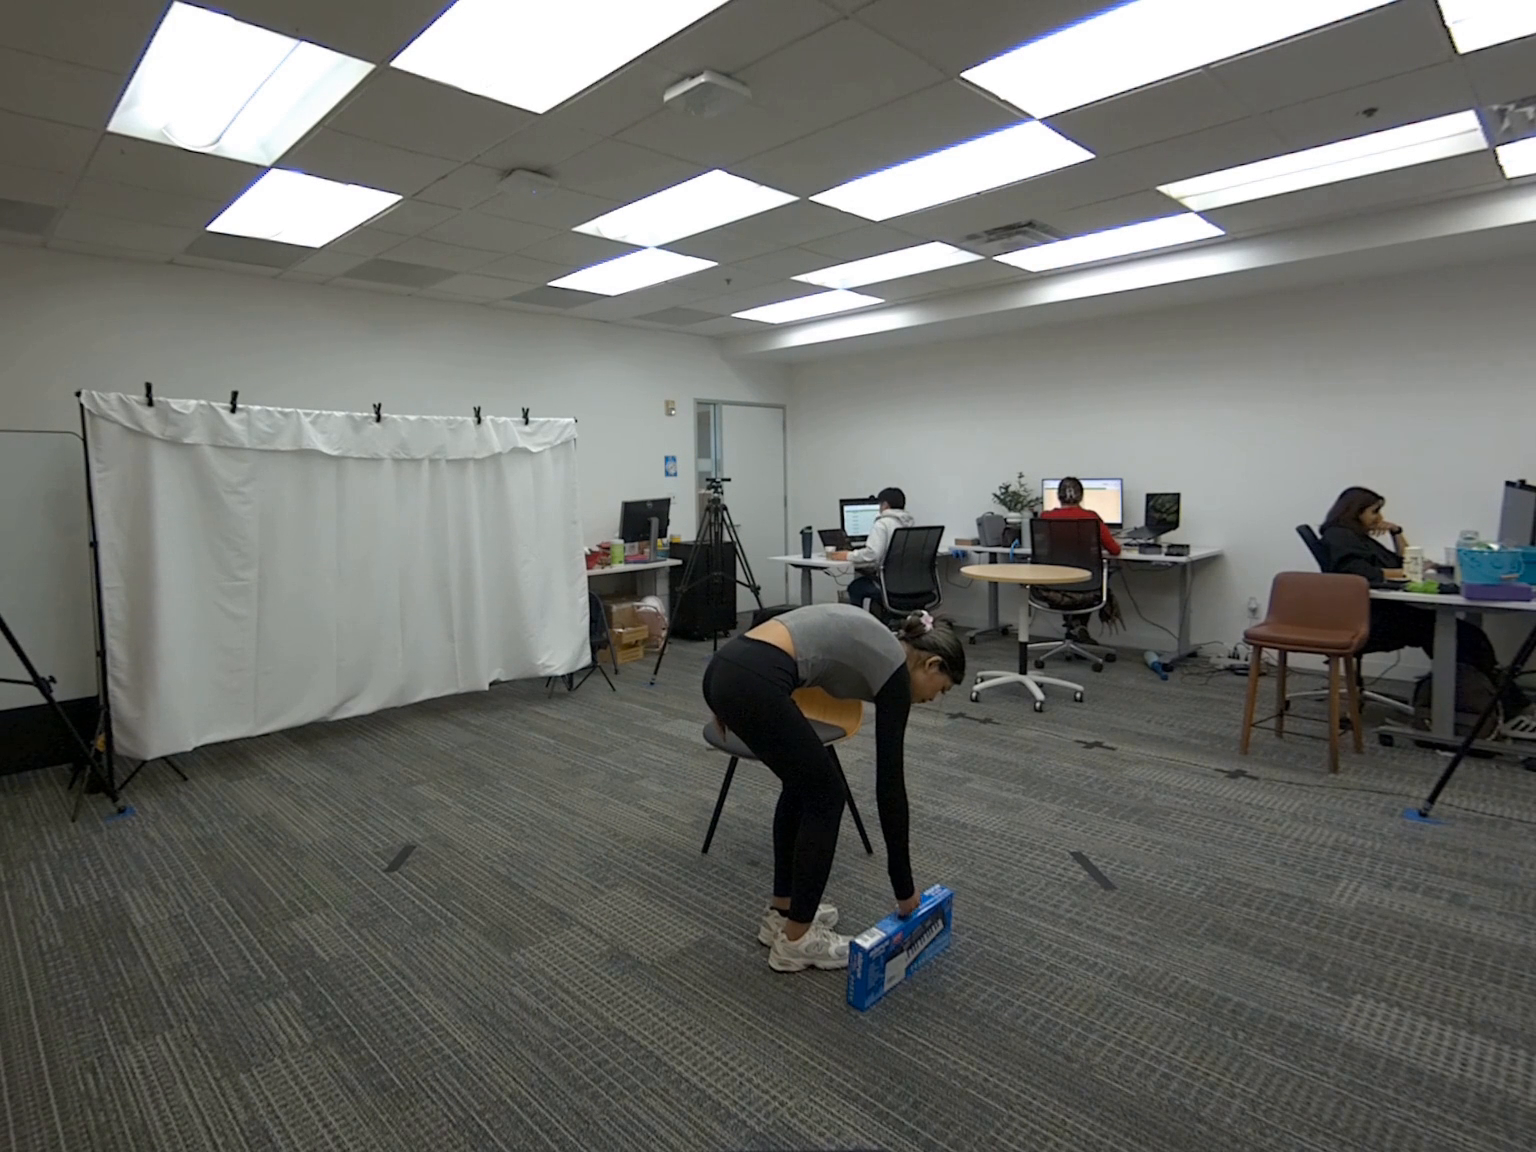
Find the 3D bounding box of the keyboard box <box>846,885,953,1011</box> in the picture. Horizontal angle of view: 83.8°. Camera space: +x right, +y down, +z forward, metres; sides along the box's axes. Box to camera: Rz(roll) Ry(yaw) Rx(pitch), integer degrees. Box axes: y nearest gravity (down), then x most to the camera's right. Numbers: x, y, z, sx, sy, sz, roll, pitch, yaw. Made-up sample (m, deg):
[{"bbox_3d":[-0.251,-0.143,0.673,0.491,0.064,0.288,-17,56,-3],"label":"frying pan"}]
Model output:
[{"bbox_3d":[0.381,1.033,2.392,0.061,0.175,0.426,7,11,42],"label":"keyboard box"}]
